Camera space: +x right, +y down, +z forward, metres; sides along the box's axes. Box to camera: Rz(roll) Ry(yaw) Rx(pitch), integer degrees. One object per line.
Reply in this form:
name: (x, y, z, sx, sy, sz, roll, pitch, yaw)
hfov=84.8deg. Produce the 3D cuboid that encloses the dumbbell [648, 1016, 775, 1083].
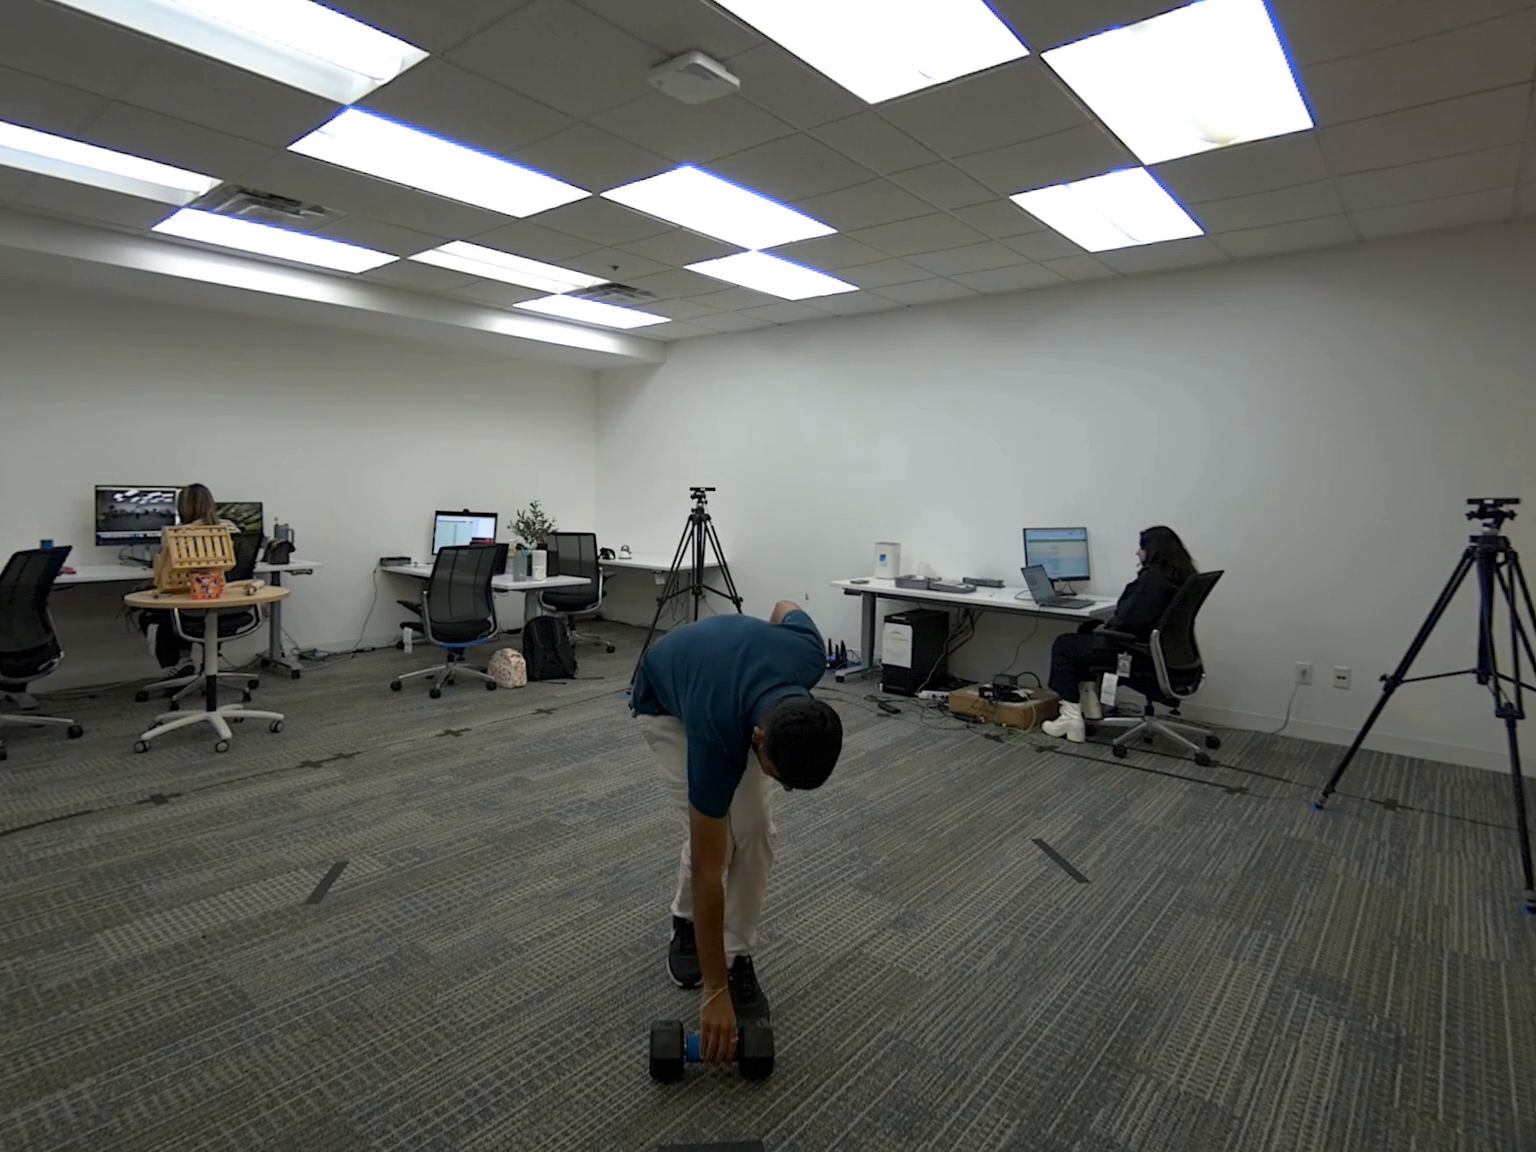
dumbbell: (-0.140, 1.119, 2.025, 0.292, 0.110, 0.122, 1, -12, -4)
